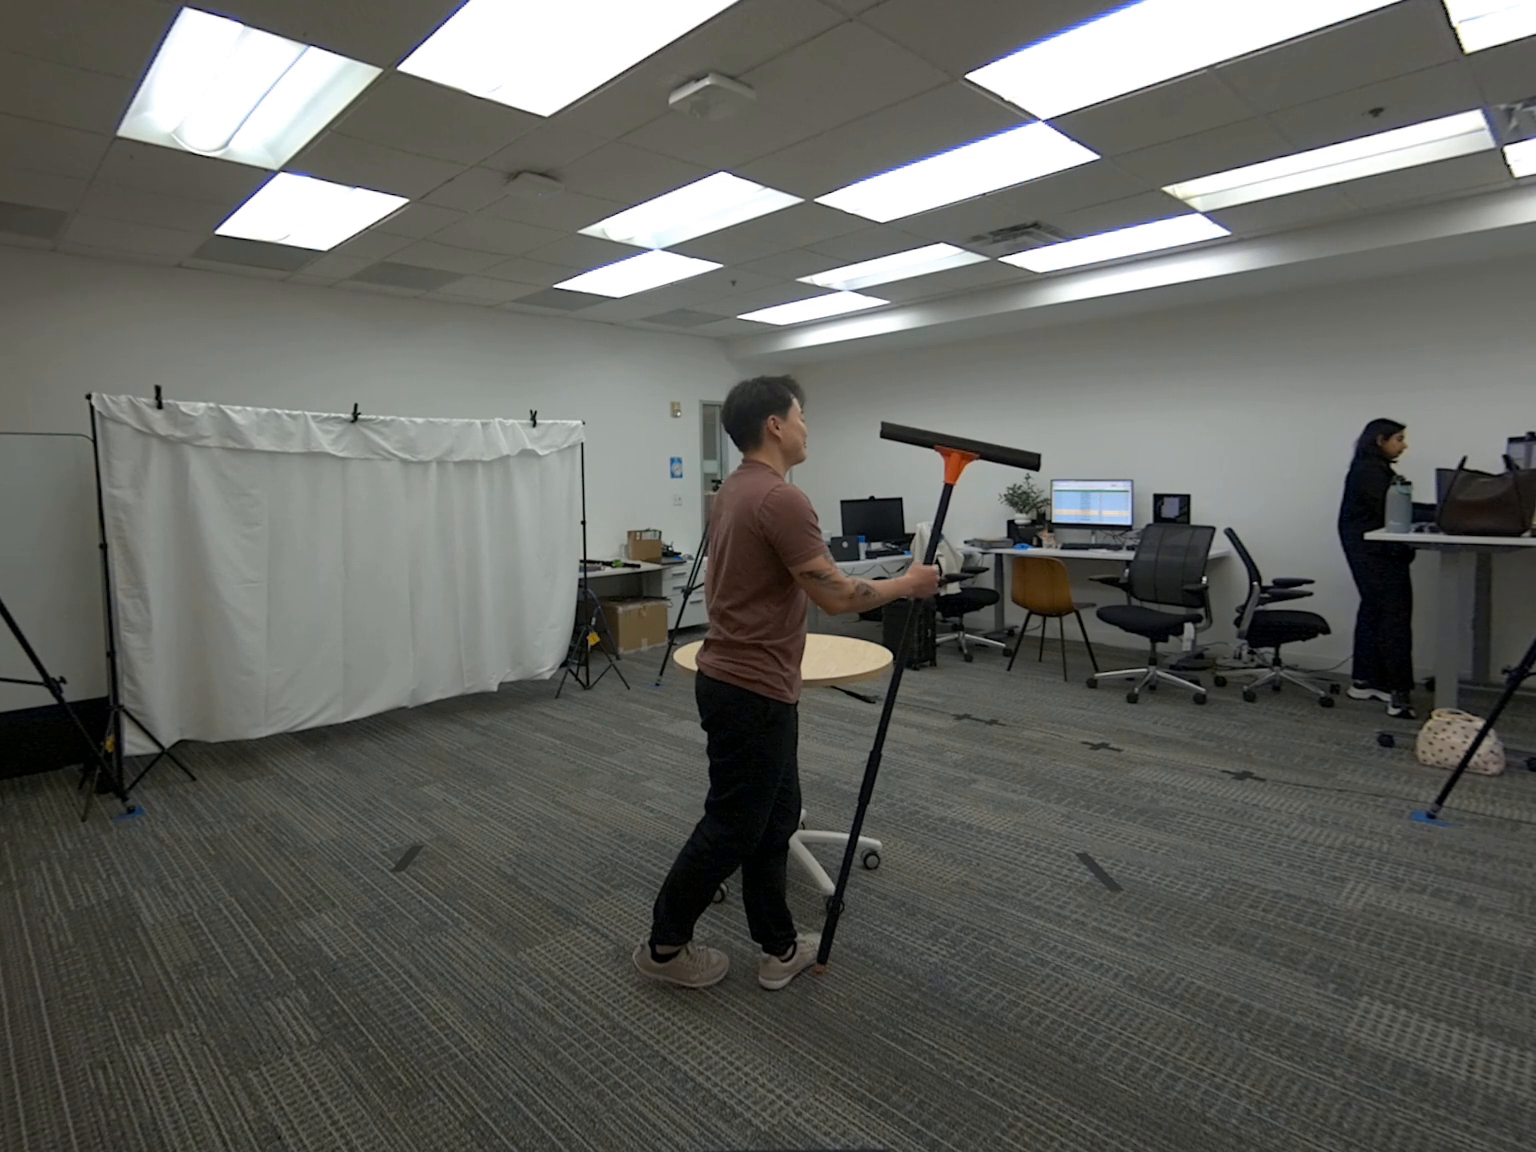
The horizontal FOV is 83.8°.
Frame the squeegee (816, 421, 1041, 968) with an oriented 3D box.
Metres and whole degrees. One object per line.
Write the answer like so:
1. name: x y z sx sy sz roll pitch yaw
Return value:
1. squeegee: 0.329 0.365 2.357 0.452 1.532 0.051 18 7 31
